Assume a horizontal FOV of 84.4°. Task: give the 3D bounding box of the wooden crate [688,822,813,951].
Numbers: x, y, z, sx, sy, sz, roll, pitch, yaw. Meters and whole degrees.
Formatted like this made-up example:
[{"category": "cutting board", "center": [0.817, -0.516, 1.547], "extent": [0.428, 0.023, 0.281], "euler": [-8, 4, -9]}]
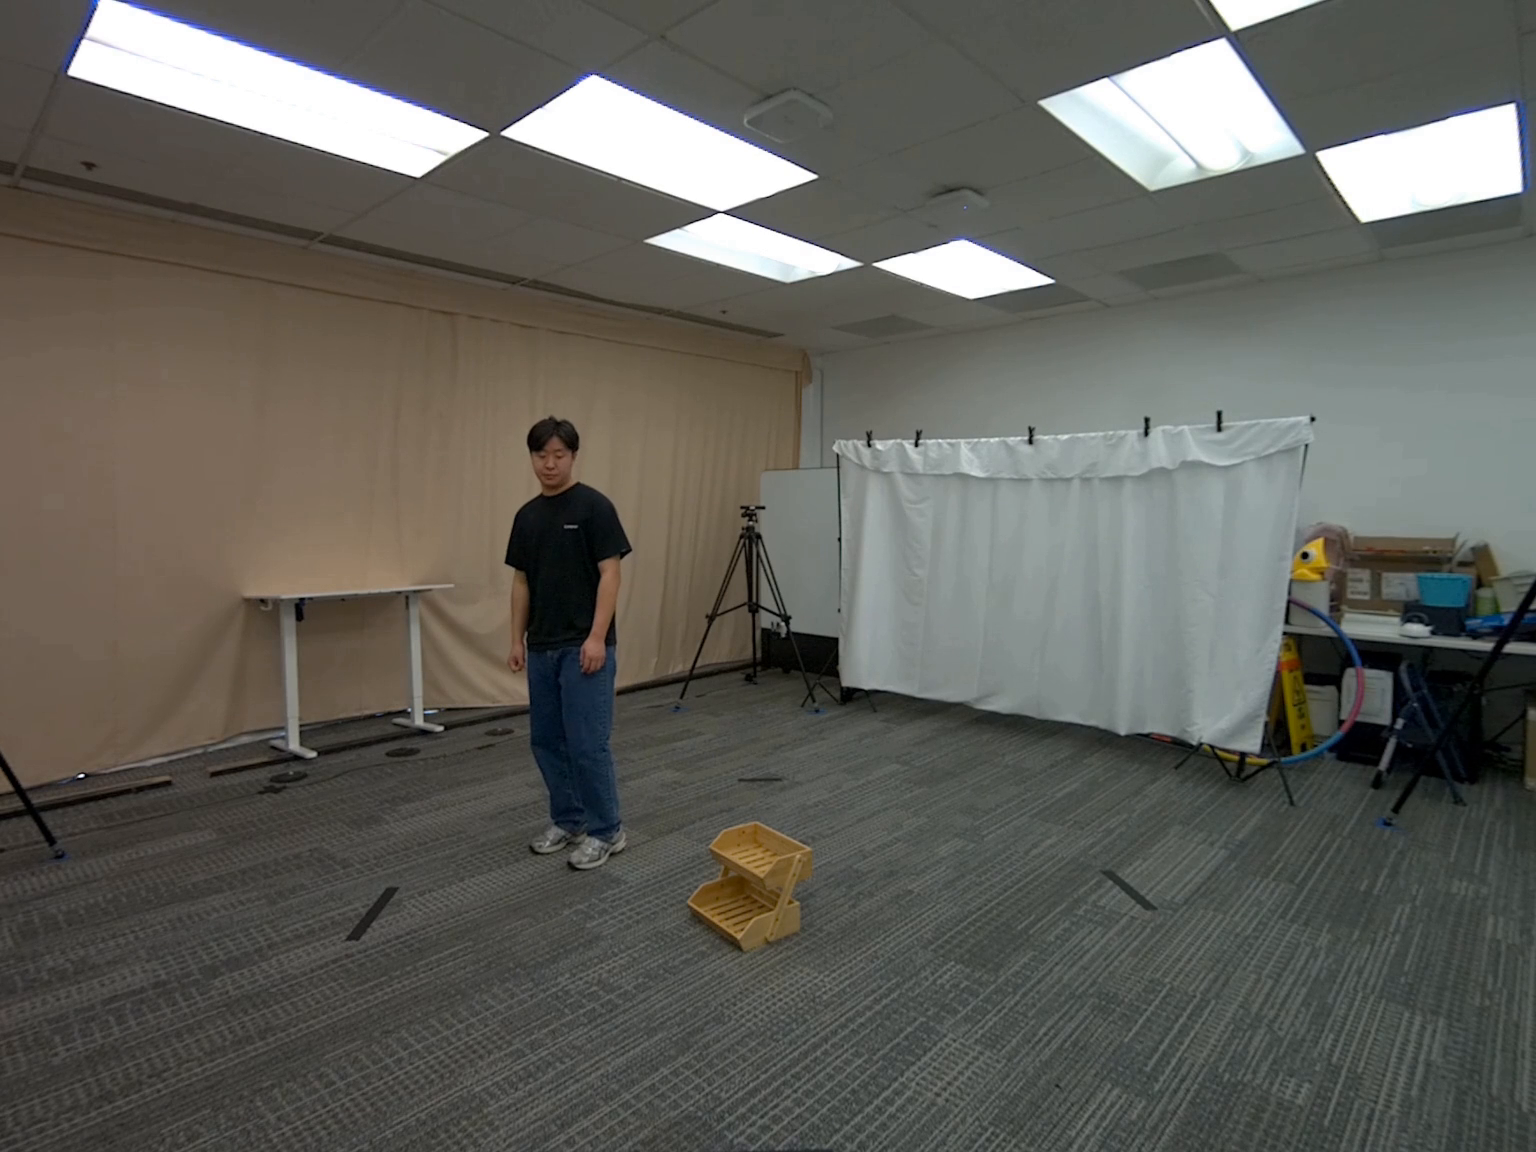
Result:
[{"category": "wooden crate", "center": [-0.063, 1.024, 2.817], "extent": [0.293, 0.273, 0.335], "euler": [-2, 4, -37]}]
